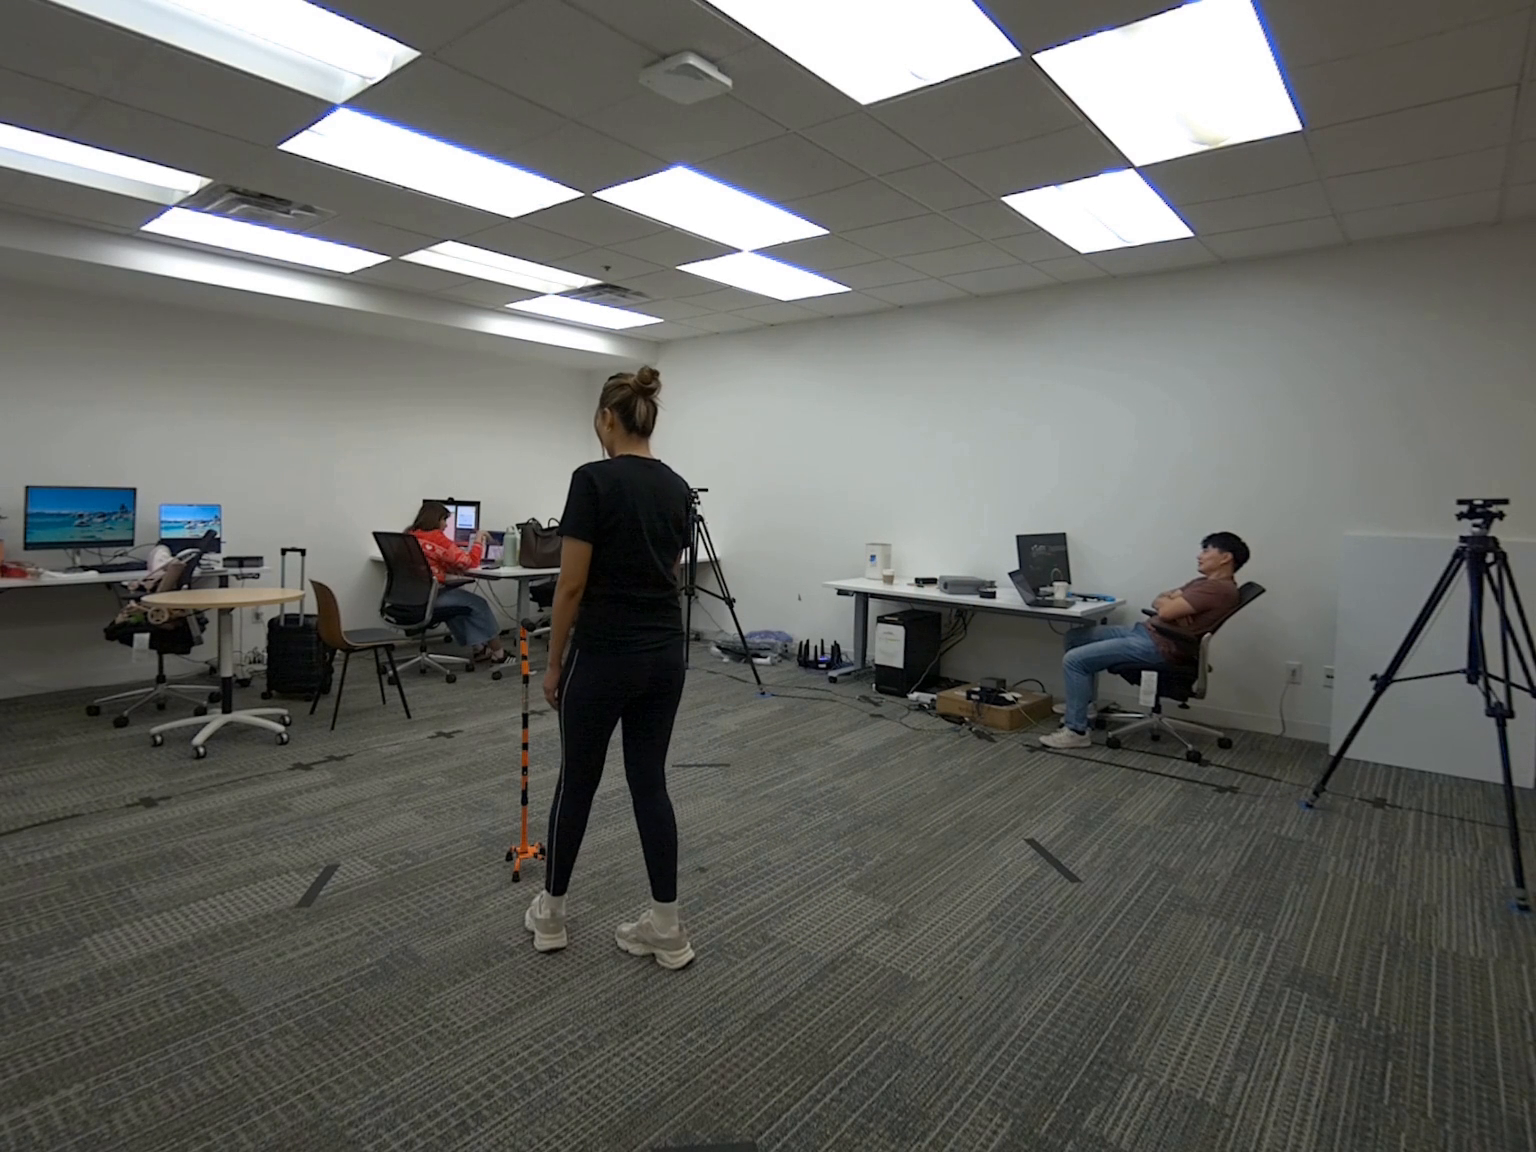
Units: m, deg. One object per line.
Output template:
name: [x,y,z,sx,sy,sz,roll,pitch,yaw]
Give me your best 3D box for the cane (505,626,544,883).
cane: [-0.872,0.609,3.067,0.148,0.905,0.211,-1,3,-22]
